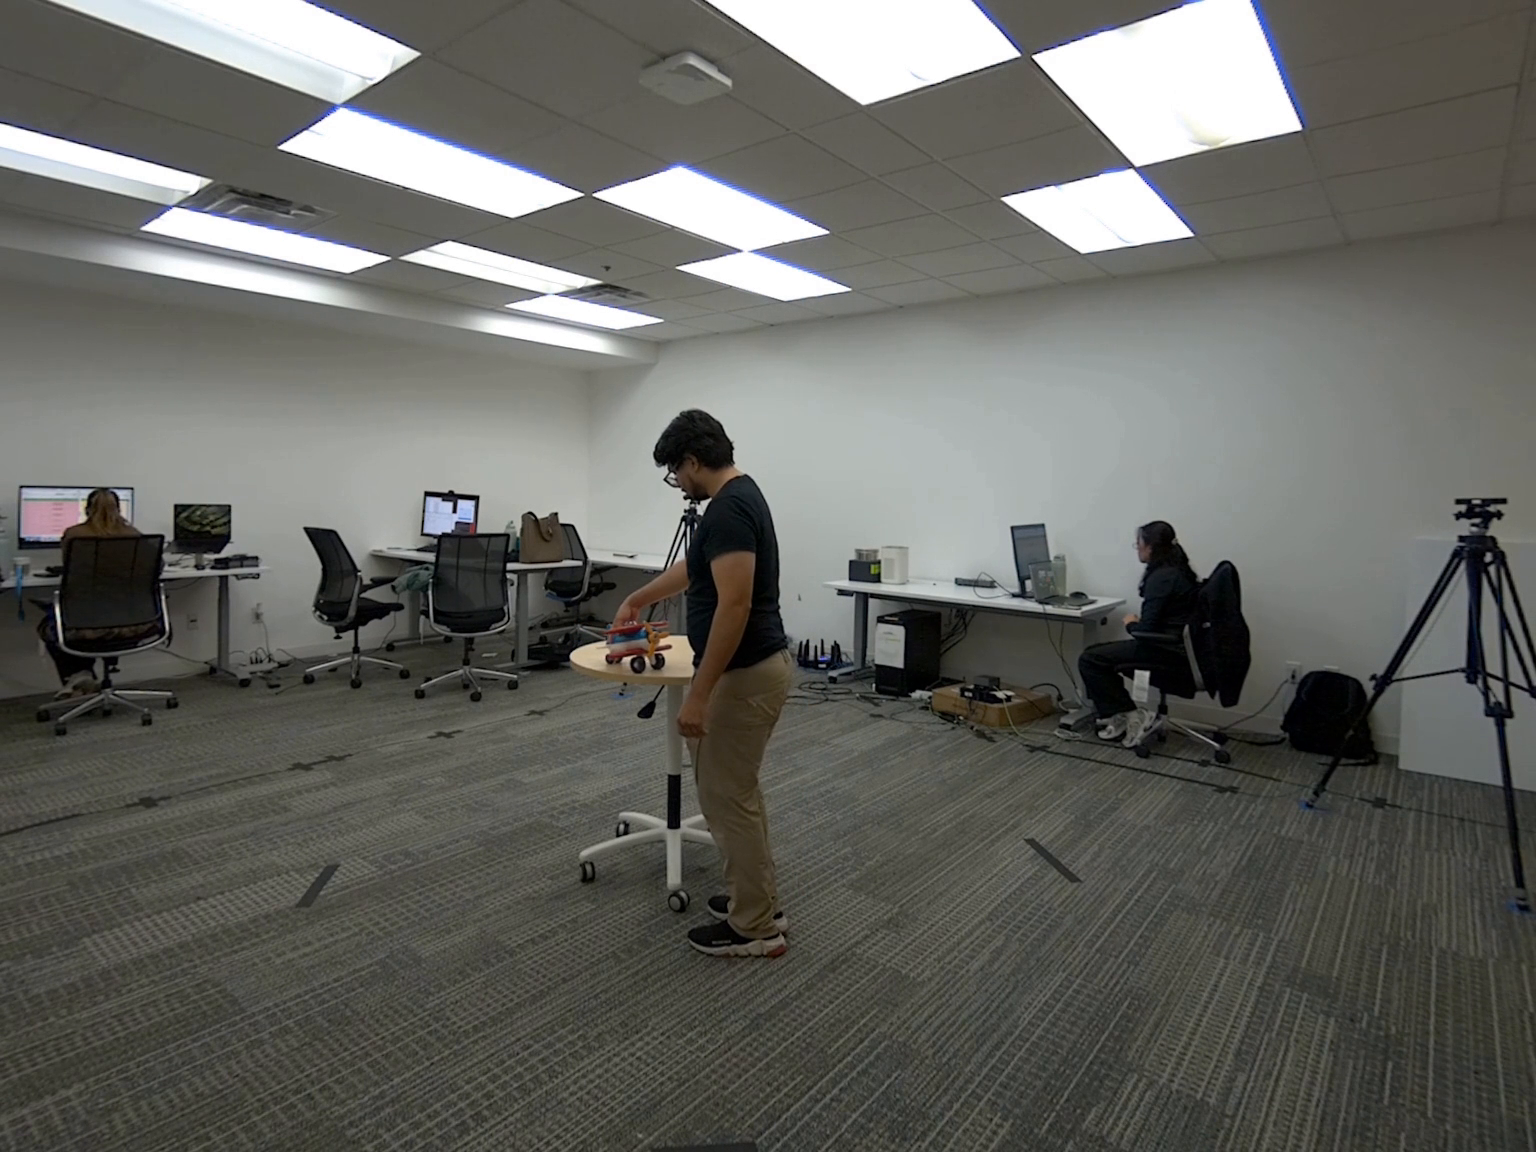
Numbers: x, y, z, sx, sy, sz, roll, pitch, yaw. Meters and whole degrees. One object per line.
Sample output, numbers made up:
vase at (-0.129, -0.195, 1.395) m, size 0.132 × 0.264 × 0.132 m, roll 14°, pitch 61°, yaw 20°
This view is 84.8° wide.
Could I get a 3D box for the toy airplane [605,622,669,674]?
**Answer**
toy airplane at (-0.478, 0.232, 2.854) m, size 0.264 × 0.156 × 0.248 m, roll 3°, pitch 4°, yaw 14°
